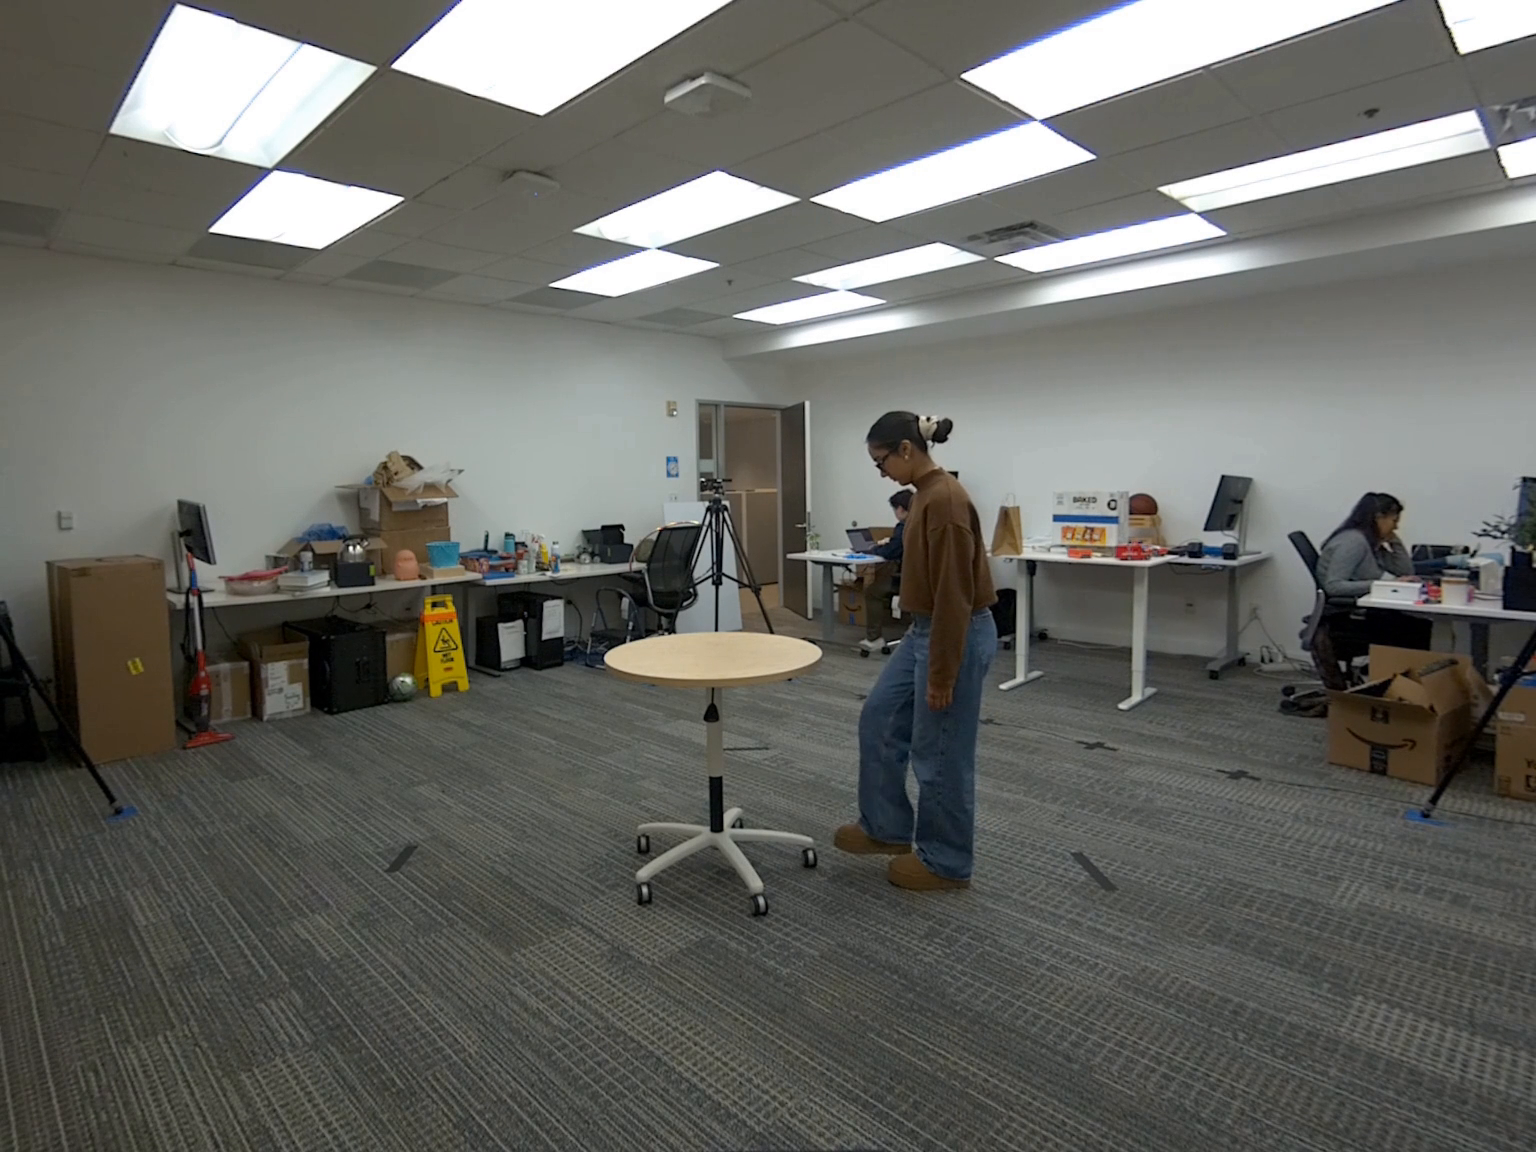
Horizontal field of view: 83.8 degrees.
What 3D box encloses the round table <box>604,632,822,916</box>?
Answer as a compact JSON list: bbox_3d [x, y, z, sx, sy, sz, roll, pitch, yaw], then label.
[{"bbox_3d":[-0.177,0.664,3.035,0.763,0.791,0.768,-1,5,-2],"label":"round table"}]
